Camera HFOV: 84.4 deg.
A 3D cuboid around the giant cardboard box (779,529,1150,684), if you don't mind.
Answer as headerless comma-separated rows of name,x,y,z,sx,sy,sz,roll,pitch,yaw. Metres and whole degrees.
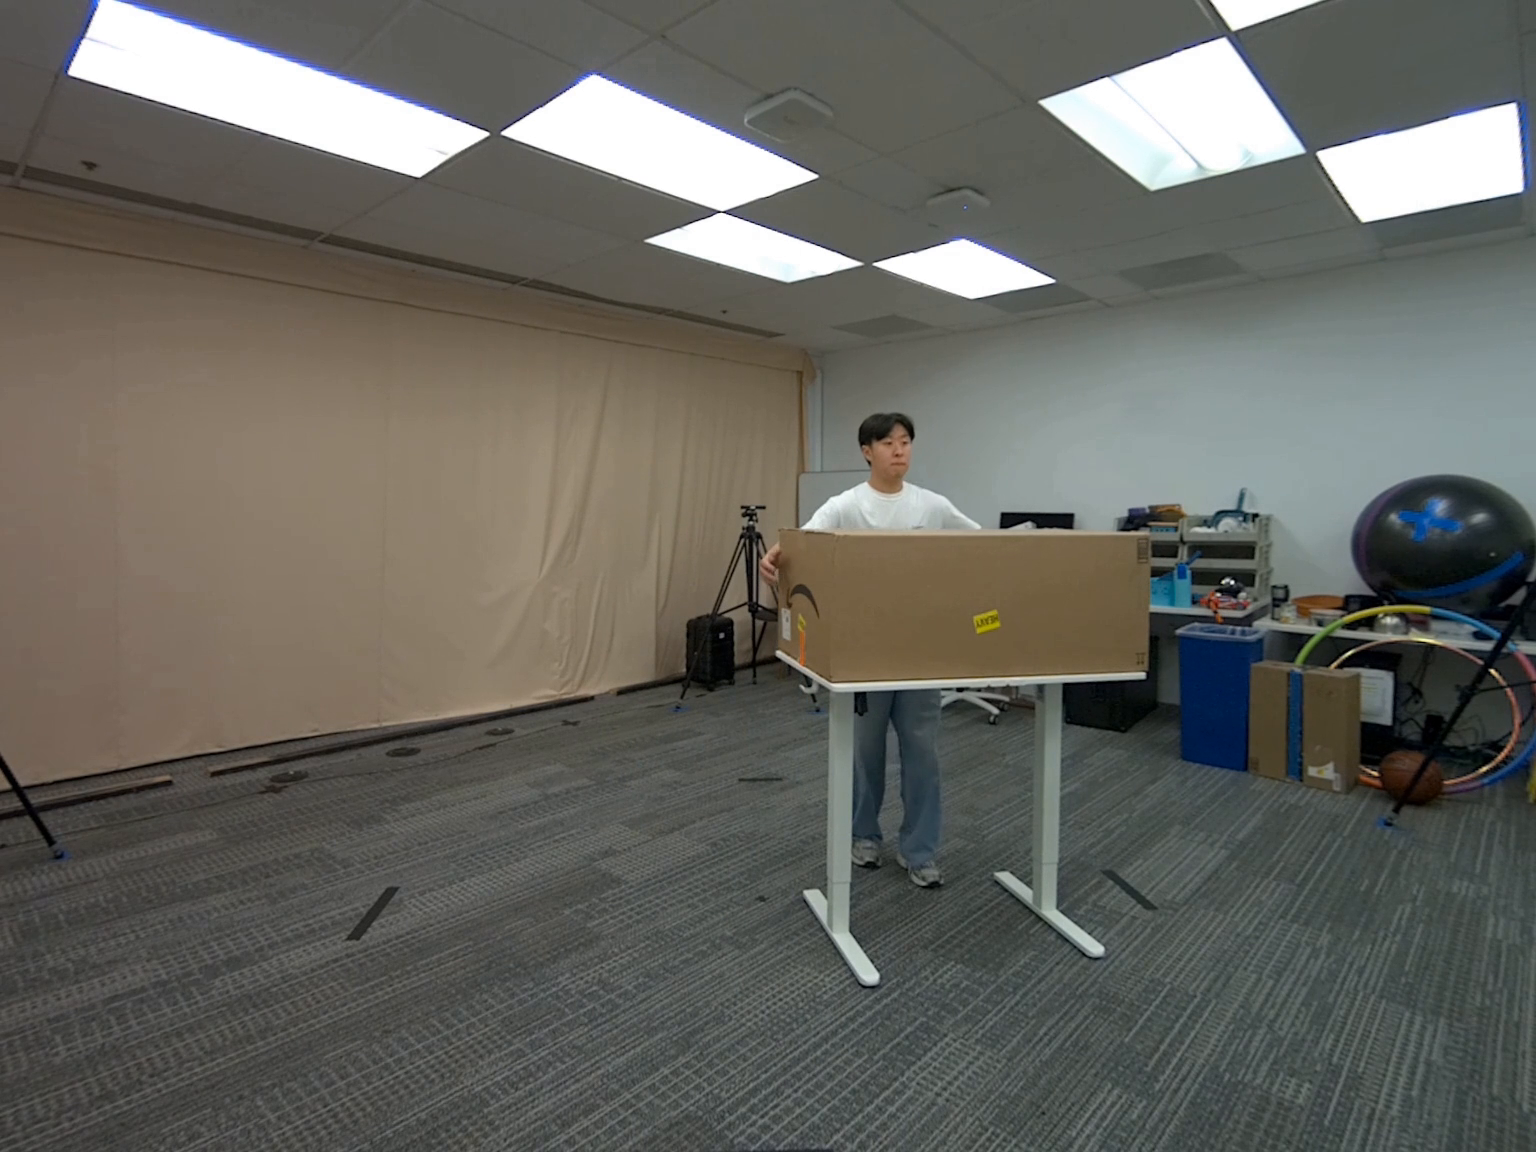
giant cardboard box,0.604,0.073,2.751,1.012,0.425,0.586,0,4,-13
